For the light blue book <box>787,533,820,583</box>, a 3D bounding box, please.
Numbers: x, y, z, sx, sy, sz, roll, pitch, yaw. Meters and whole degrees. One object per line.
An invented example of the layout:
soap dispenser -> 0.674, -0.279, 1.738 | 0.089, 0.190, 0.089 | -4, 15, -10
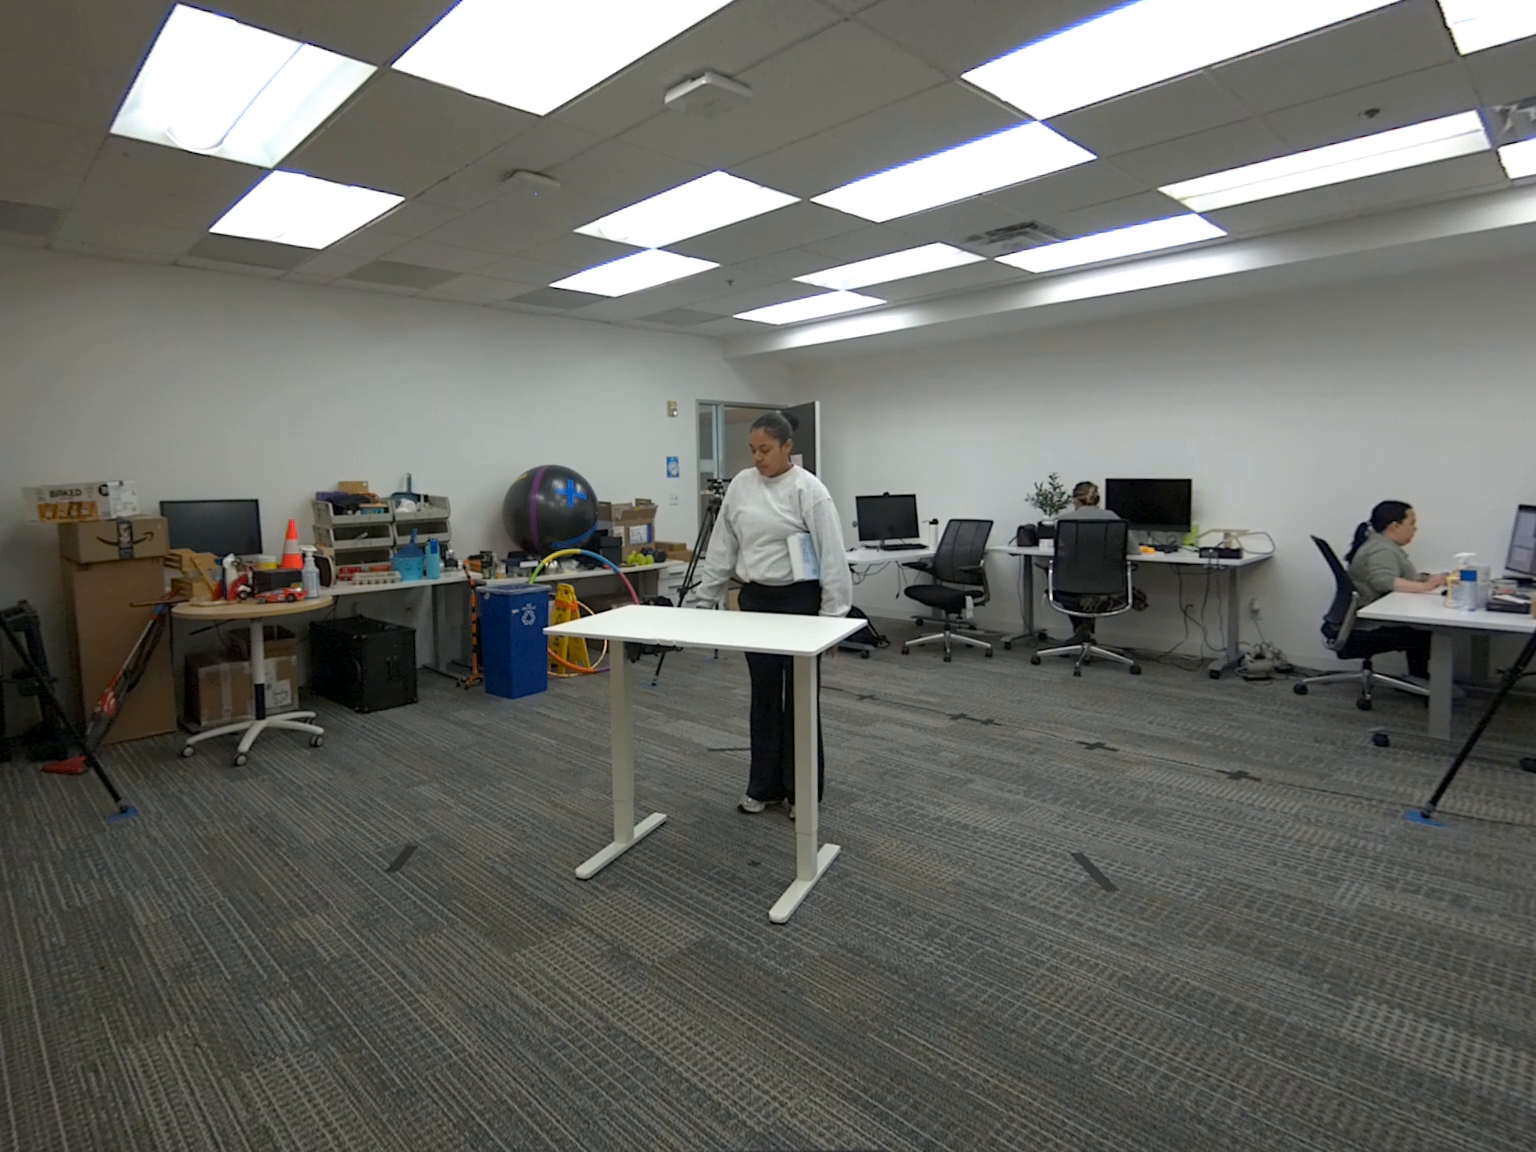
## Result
light blue book -> 0.177, -0.081, 3.476 | 0.060, 0.192, 0.254 | -15, -5, 42
